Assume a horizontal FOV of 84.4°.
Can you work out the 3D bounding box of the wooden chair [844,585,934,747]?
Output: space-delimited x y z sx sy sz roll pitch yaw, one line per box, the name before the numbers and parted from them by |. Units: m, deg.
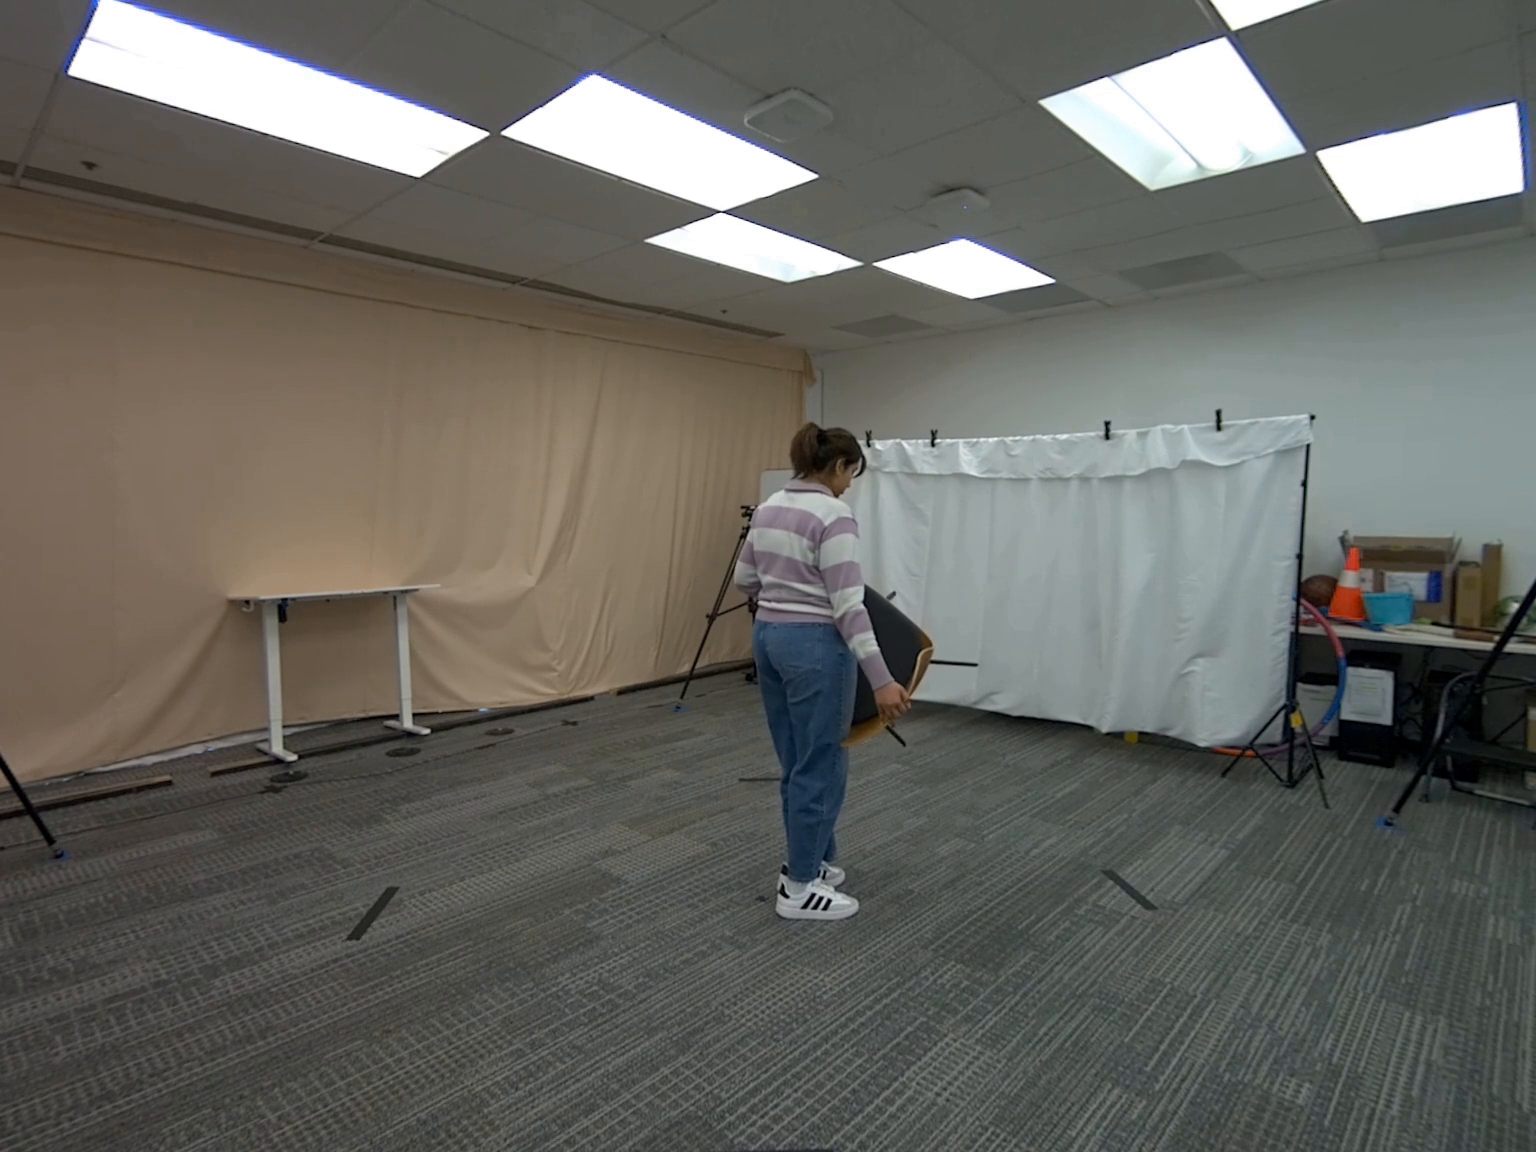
wooden chair | 0.369 0.325 3.120 0.536 0.479 0.854 43 12 21
